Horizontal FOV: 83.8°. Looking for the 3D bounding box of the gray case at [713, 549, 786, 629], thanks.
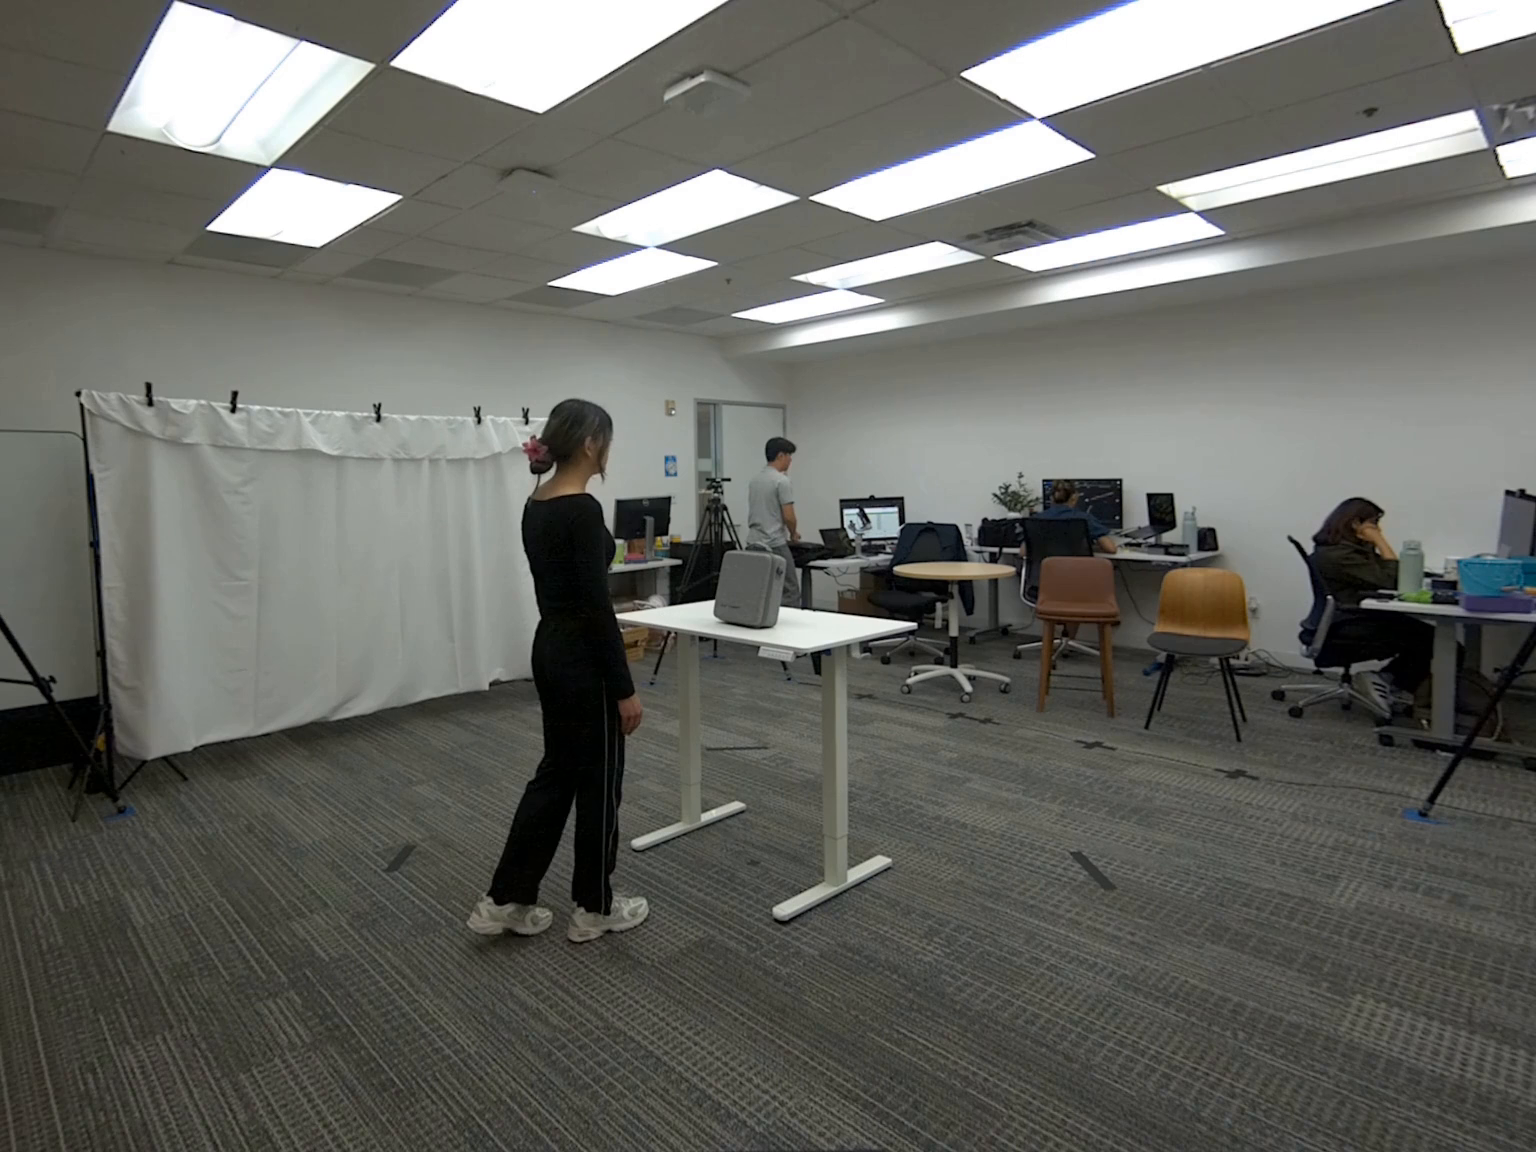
[{"bbox_3d":[-0.064,0.041,2.998,0.101,0.261,0.265,13,-5,-39],"label":"gray case"}]
